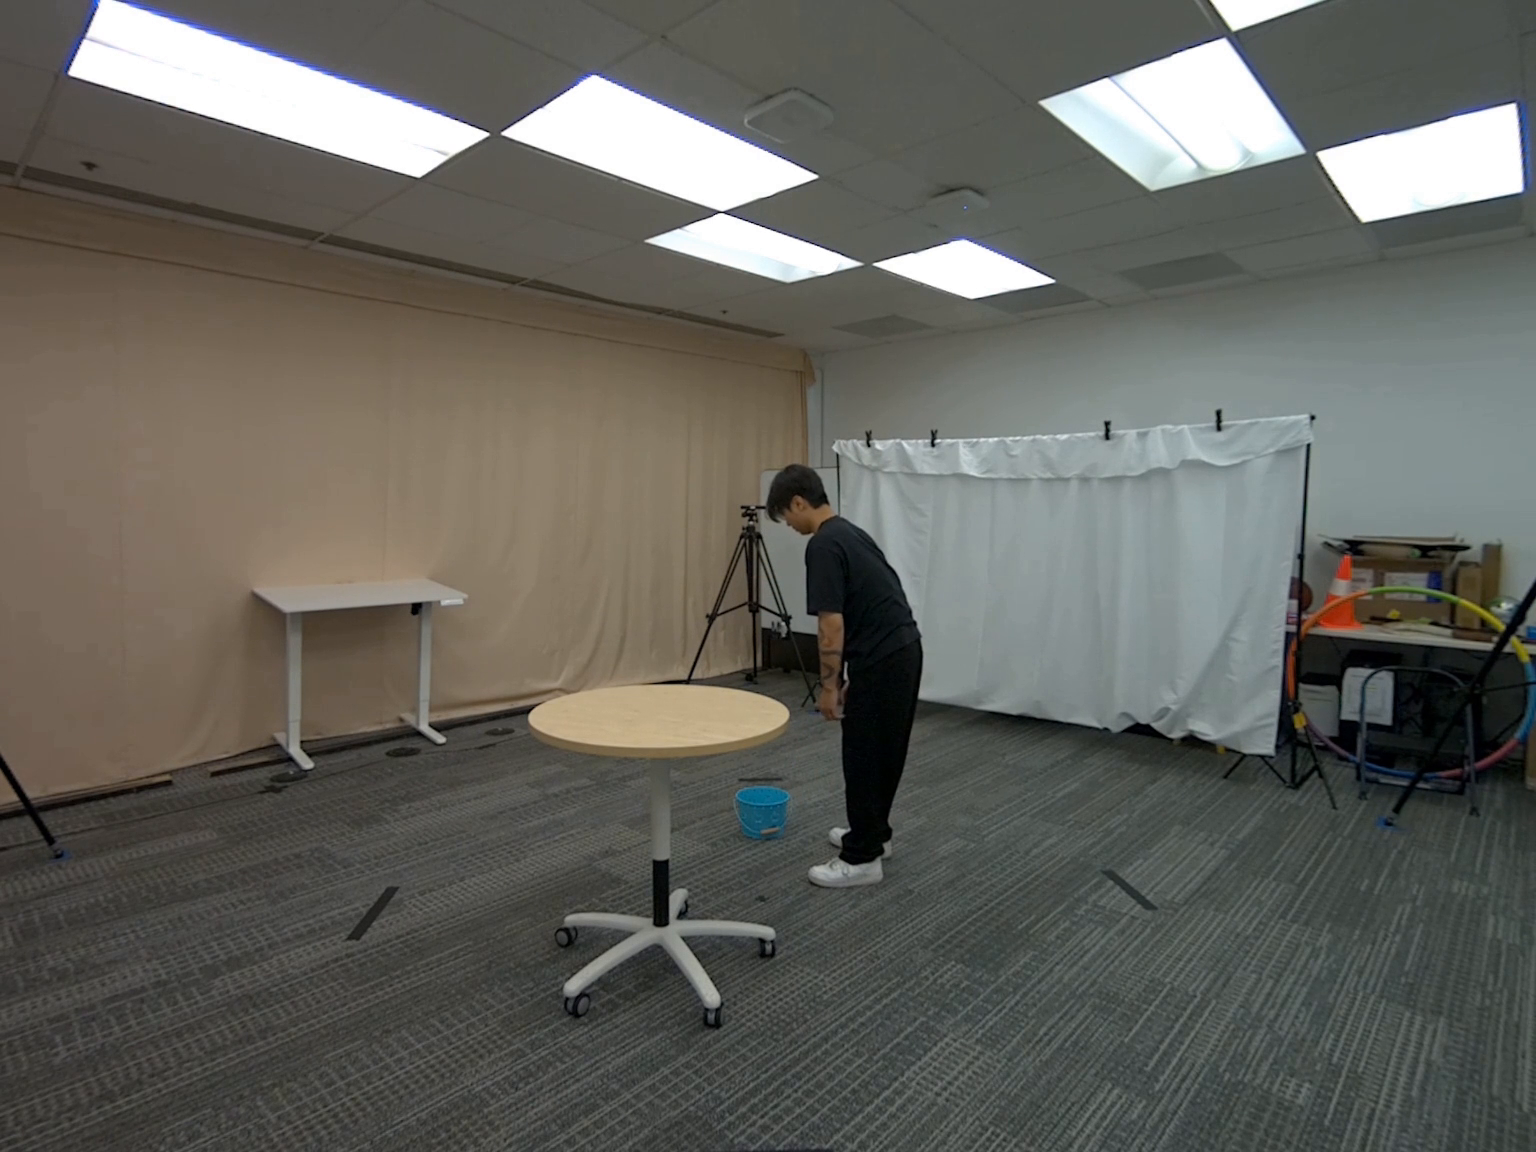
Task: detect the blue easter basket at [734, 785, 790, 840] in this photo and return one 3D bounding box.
[{"bbox_3d":[-0.023,1.011,3.605,0.243,0.155,0.244,0,4,-2],"label":"blue easter basket"}]
